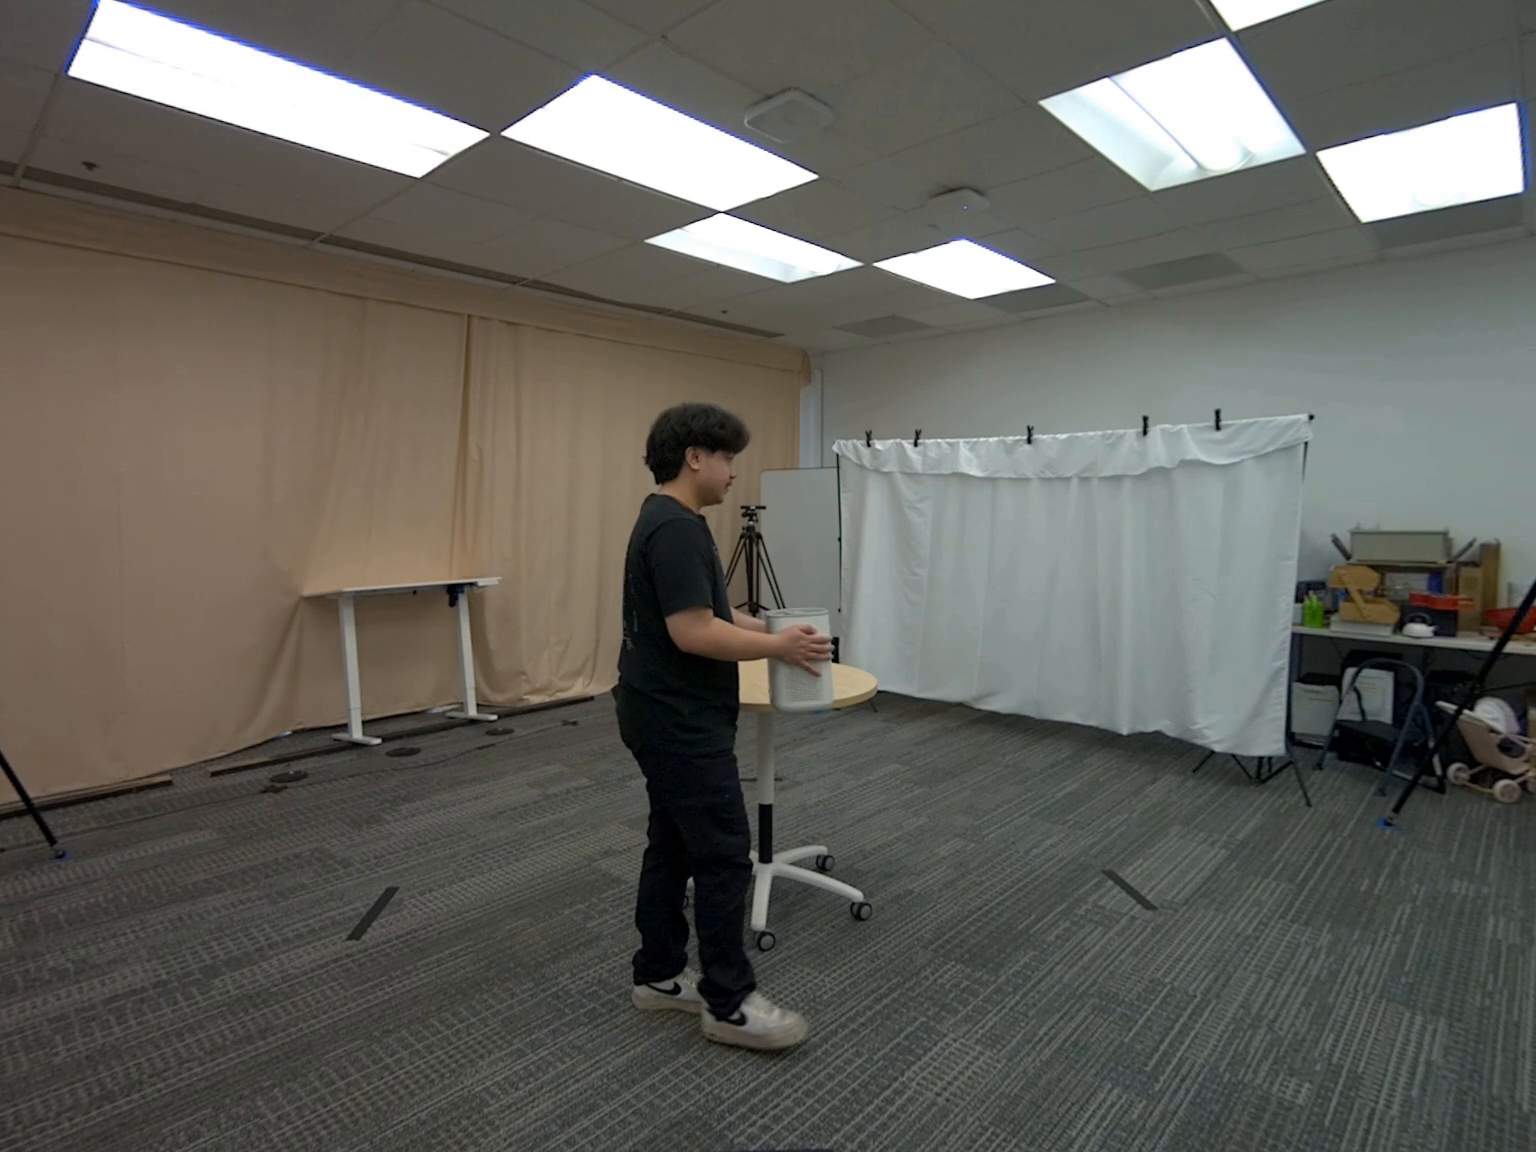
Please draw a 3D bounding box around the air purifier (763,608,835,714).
[{"bbox_3d":[0.086,0.235,2.285,0.171,0.265,0.172,-2,-1,-5],"label":"air purifier"}]
